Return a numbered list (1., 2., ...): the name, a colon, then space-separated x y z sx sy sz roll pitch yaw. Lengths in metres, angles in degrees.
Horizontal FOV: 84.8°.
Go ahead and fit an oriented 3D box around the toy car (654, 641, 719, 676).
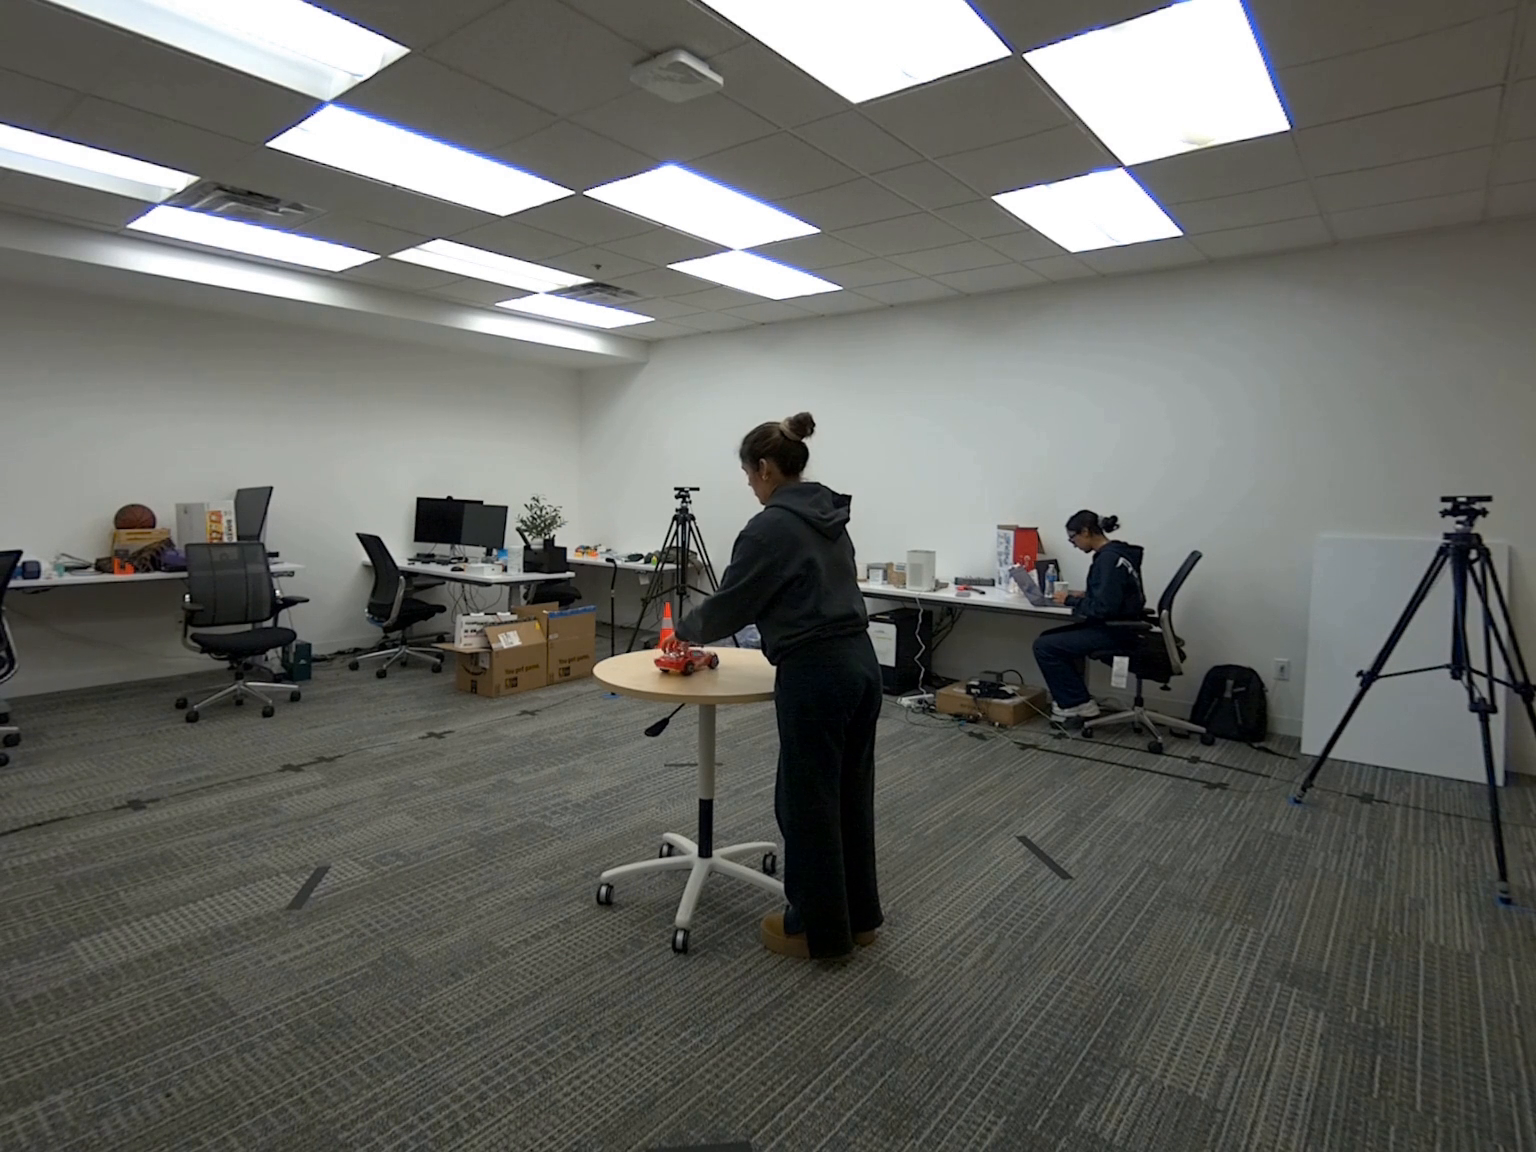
1. toy car: -0.284 0.283 2.814 0.134 0.083 0.246 4 -5 33
